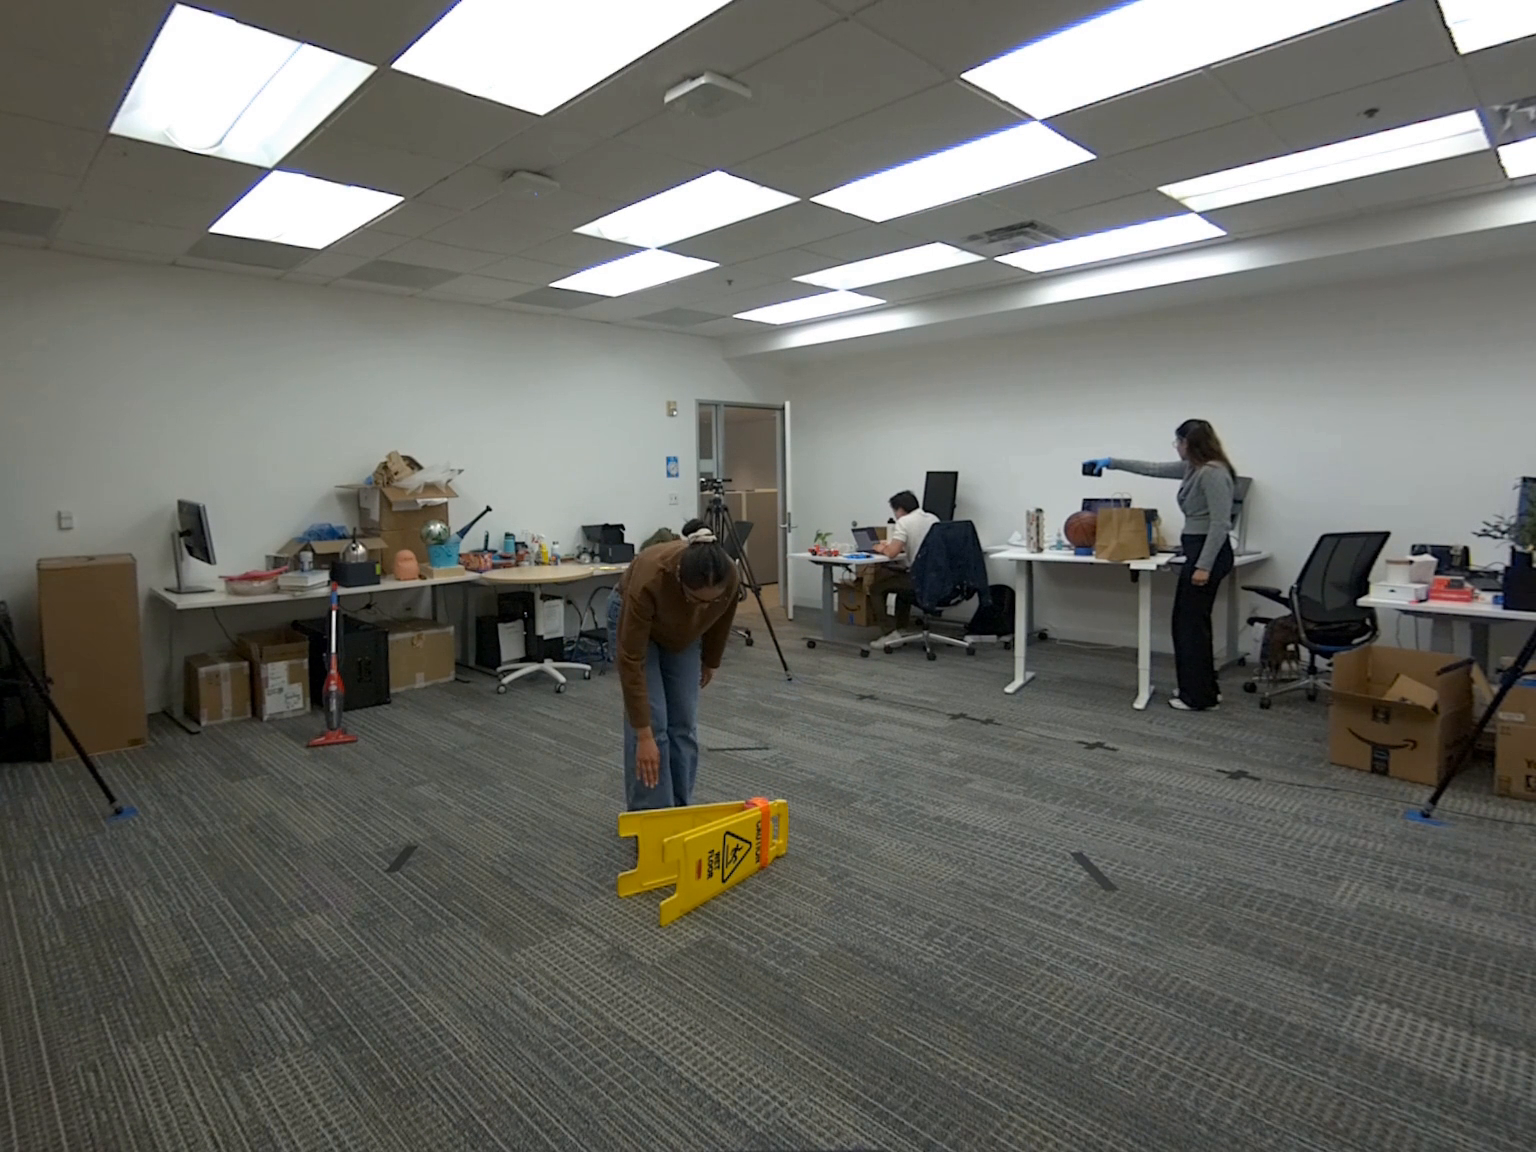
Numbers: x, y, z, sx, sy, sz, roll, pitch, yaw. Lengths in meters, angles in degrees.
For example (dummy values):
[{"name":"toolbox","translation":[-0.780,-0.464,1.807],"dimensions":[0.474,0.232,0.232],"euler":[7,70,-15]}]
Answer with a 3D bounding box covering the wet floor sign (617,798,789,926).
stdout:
[{"name":"wet floor sign","translation":[-0.180,0.933,2.972],"dimensions":[0.628,0.282,0.298],"euler":[-2,4,-40]}]
